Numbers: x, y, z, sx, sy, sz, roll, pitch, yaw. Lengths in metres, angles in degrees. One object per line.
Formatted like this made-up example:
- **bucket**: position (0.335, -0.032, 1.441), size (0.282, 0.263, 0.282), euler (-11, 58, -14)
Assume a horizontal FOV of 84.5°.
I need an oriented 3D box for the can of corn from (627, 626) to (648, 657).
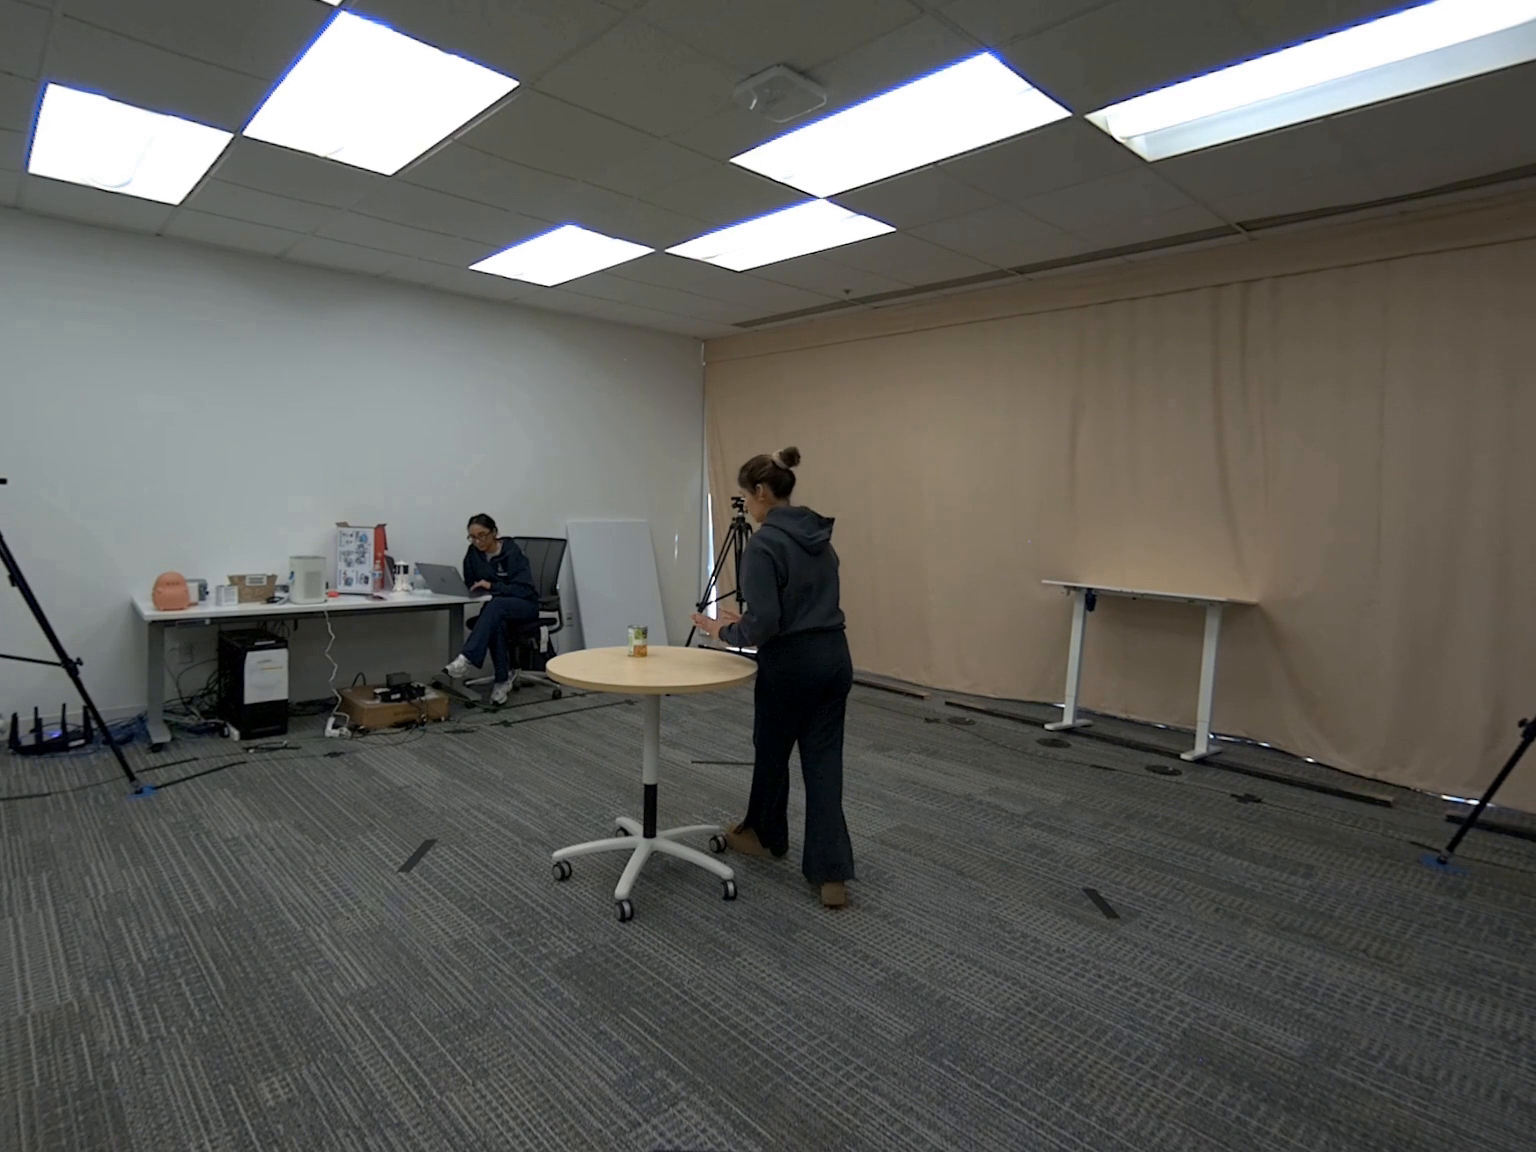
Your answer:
- **can of corn**: position (-0.503, 0.246, 3.227), size (0.074, 0.111, 0.074), euler (1, 3, -1)
